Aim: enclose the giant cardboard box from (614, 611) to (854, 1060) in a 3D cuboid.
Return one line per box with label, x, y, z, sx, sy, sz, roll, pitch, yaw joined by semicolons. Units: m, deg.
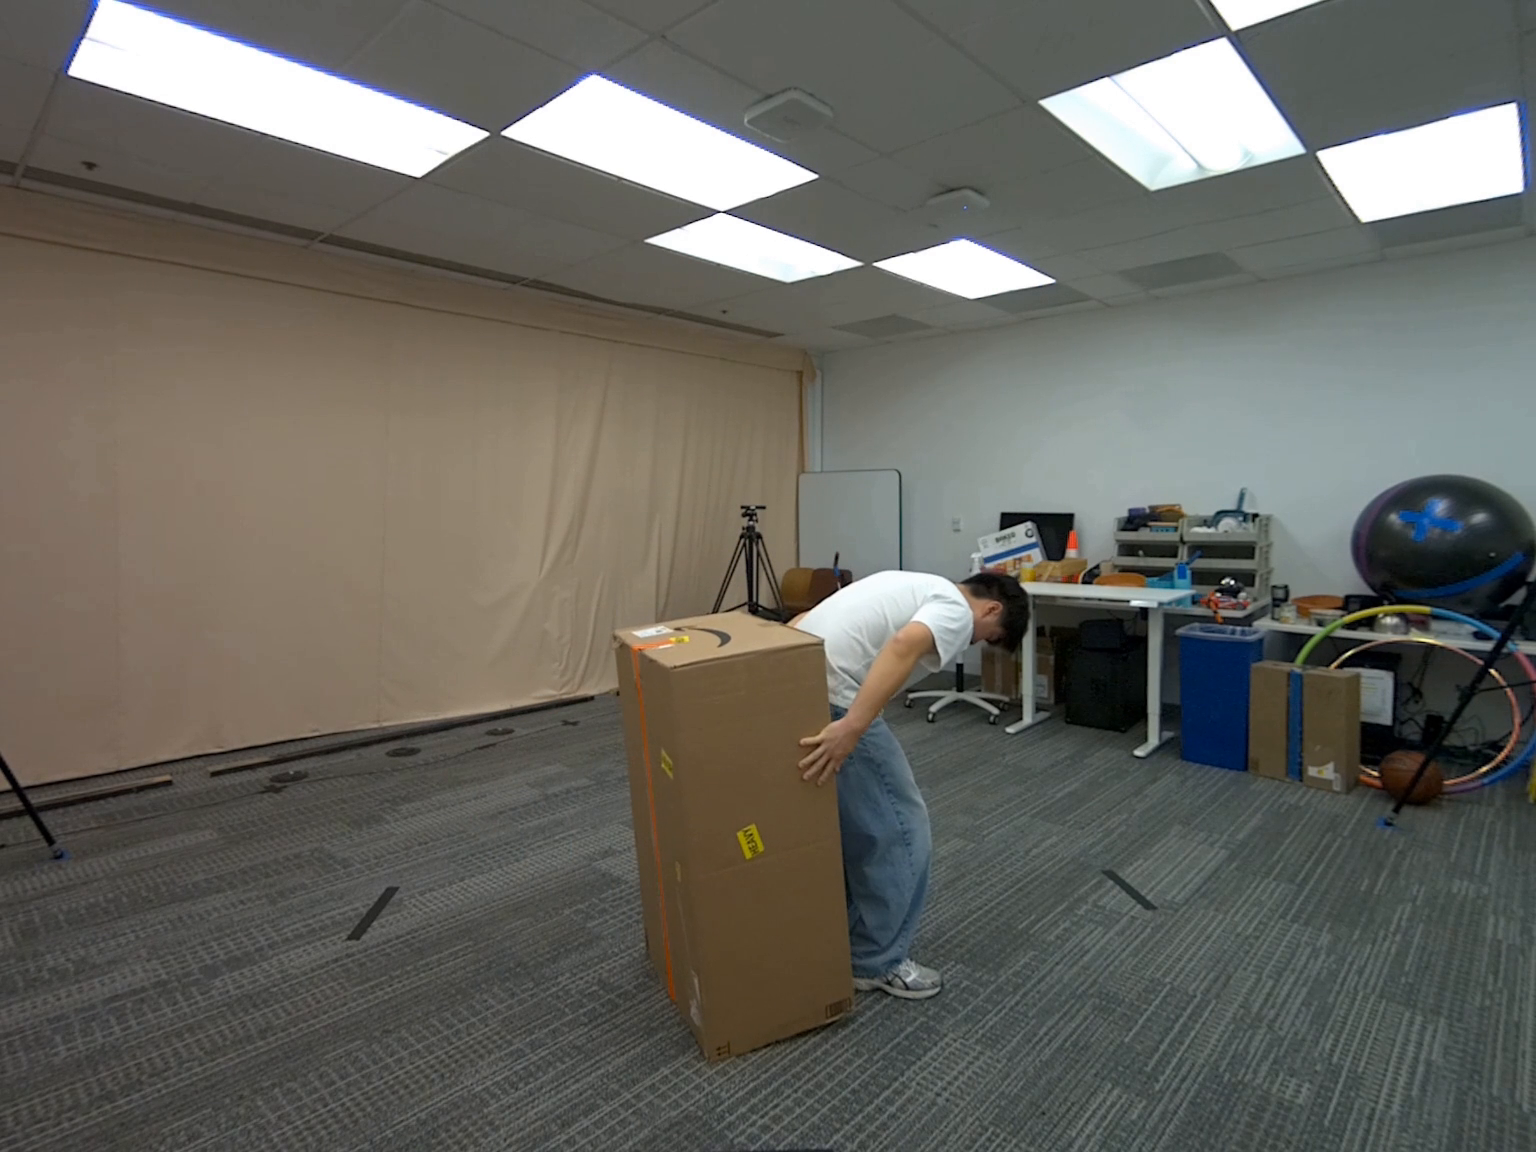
giant cardboard box;-0.116;0.669;2.392;0.418;1.022;0.591;-7;6;-22
